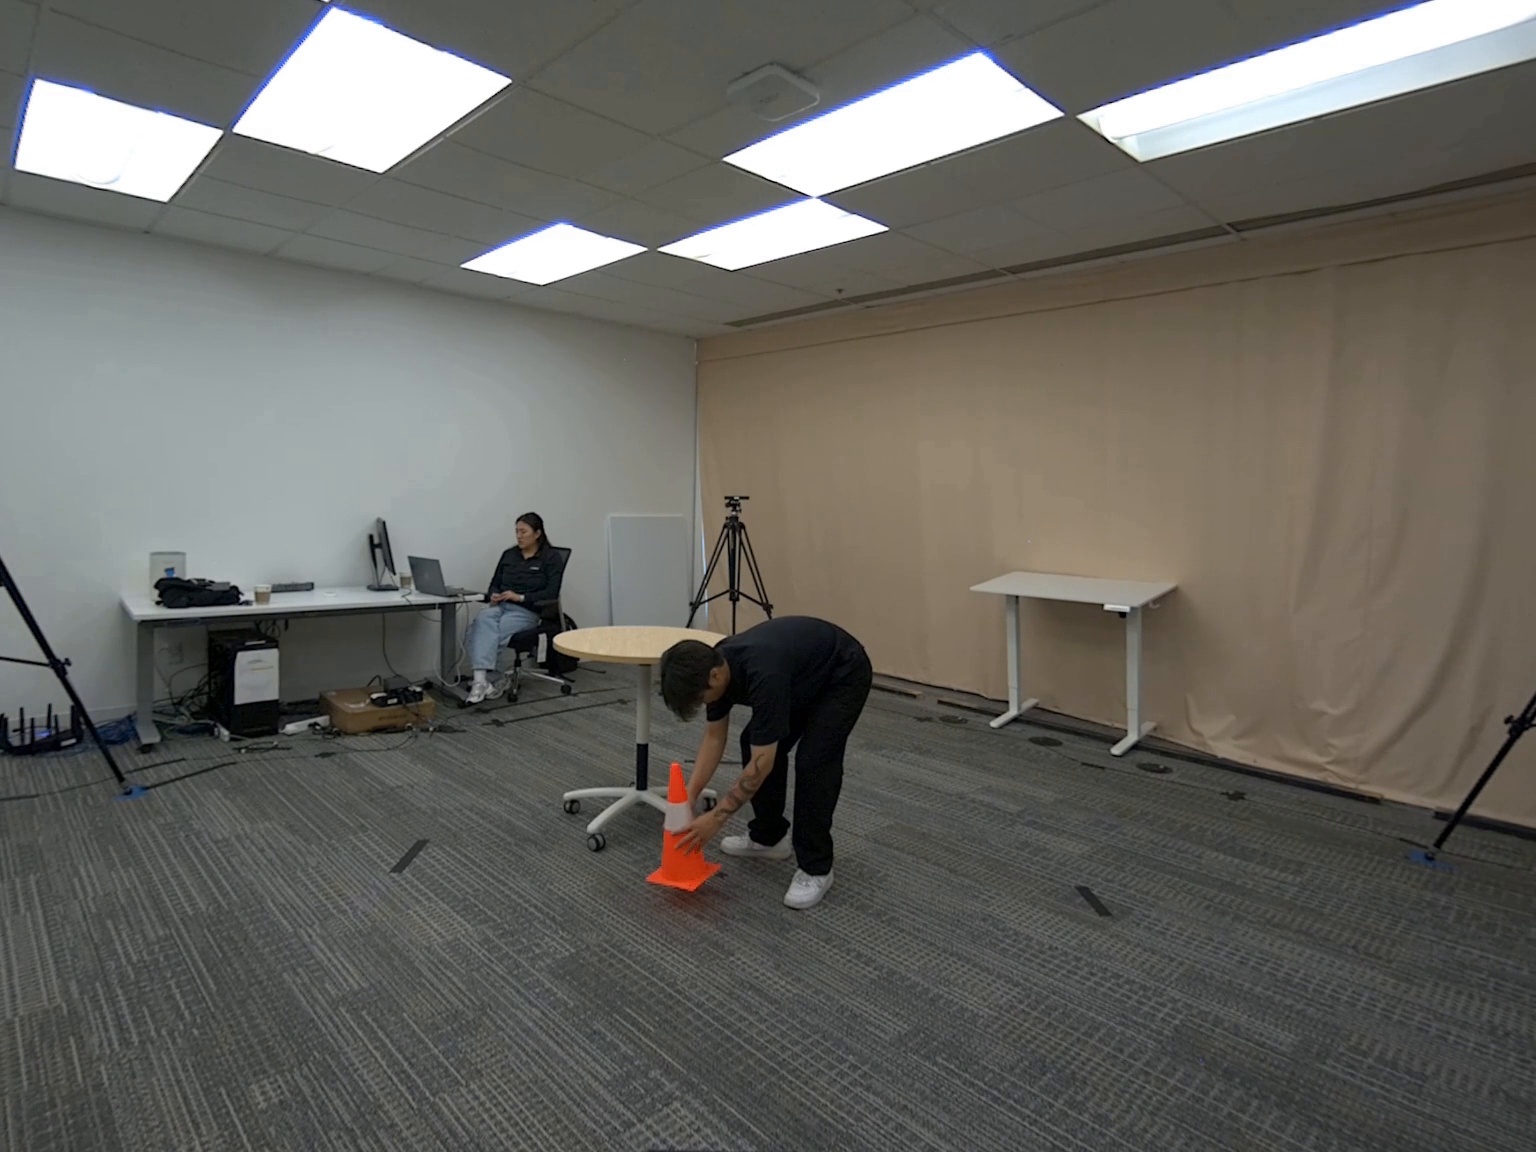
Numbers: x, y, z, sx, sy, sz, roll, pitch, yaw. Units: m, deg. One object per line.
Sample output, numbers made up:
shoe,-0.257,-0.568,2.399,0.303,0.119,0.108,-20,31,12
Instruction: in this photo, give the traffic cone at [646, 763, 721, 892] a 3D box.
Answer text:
traffic cone,-0.306,0.835,2.888,0.208,0.383,0.201,1,4,30
